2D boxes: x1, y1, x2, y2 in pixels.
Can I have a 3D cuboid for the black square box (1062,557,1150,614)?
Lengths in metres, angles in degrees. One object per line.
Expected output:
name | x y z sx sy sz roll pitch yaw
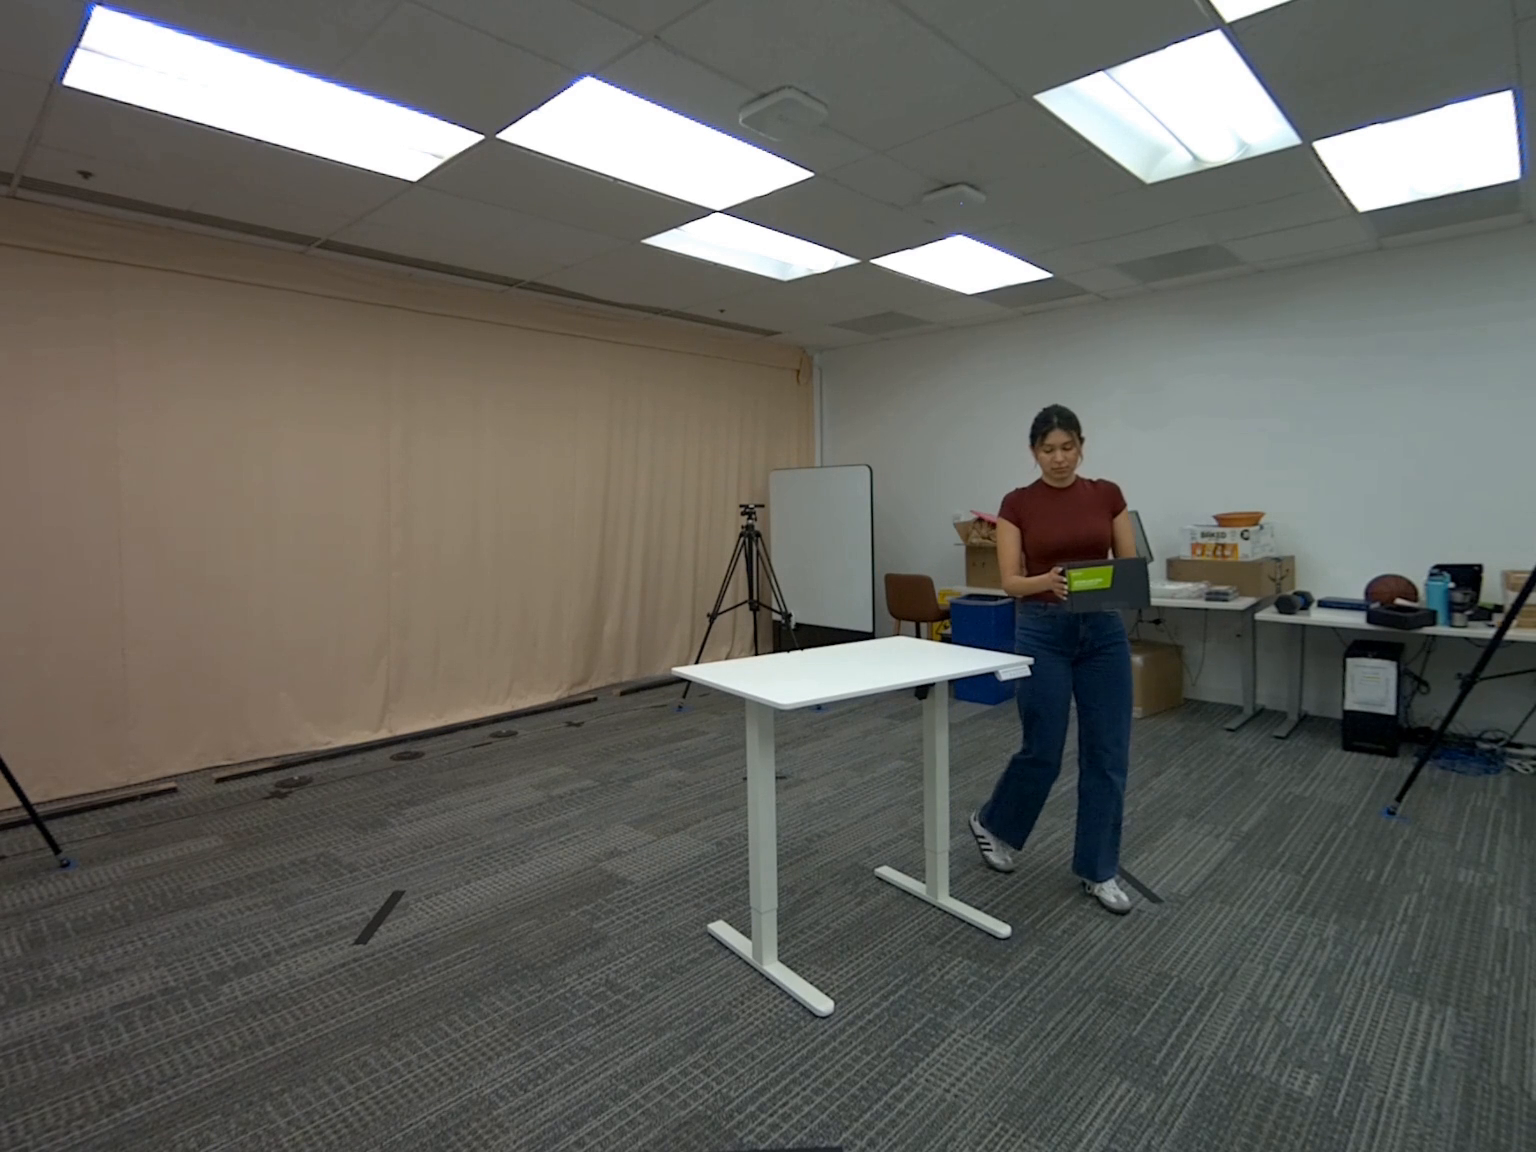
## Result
black square box | 1.050 0.030 2.665 0.231 0.156 0.214 -5 -1 11
